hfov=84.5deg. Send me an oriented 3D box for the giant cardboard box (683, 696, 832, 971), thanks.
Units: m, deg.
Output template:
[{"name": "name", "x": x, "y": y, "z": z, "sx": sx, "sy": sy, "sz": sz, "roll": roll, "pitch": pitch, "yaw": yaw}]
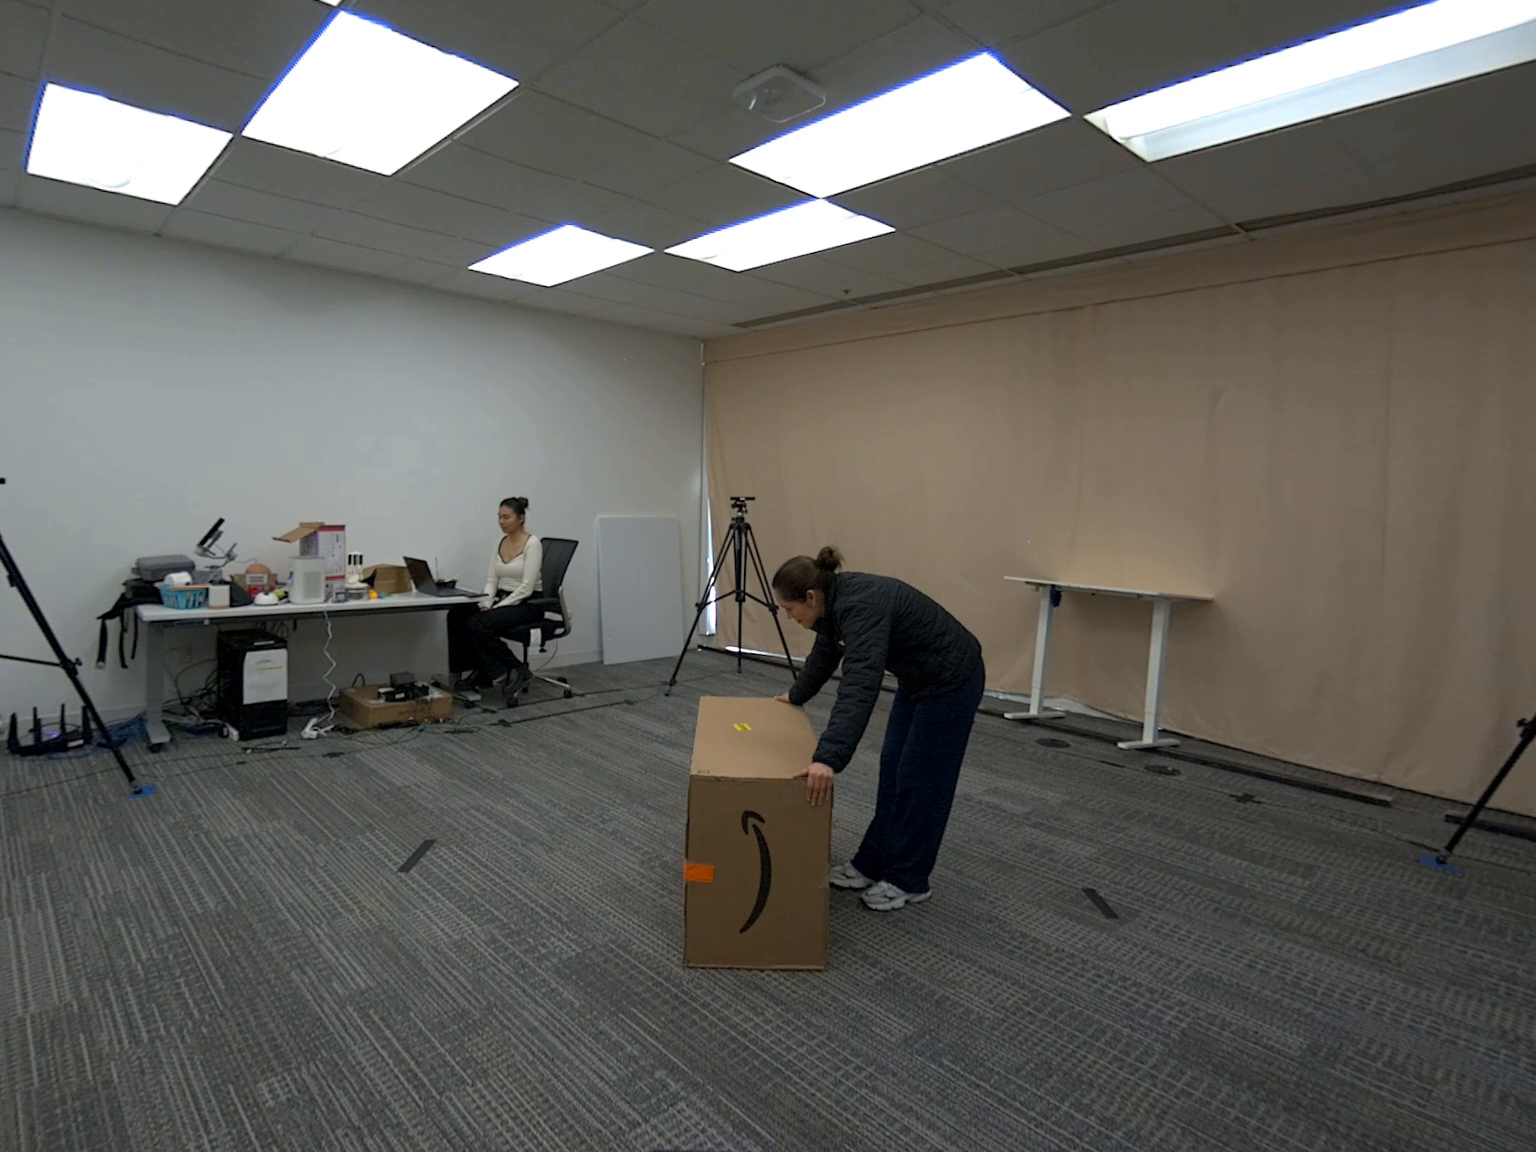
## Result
[{"name": "giant cardboard box", "x": -0.062, "y": 0.835, "z": 2.974, "sx": 0.446, "sy": 0.582, "sz": 1.032, "roll": 1, "pitch": 4, "yaw": -3}]
